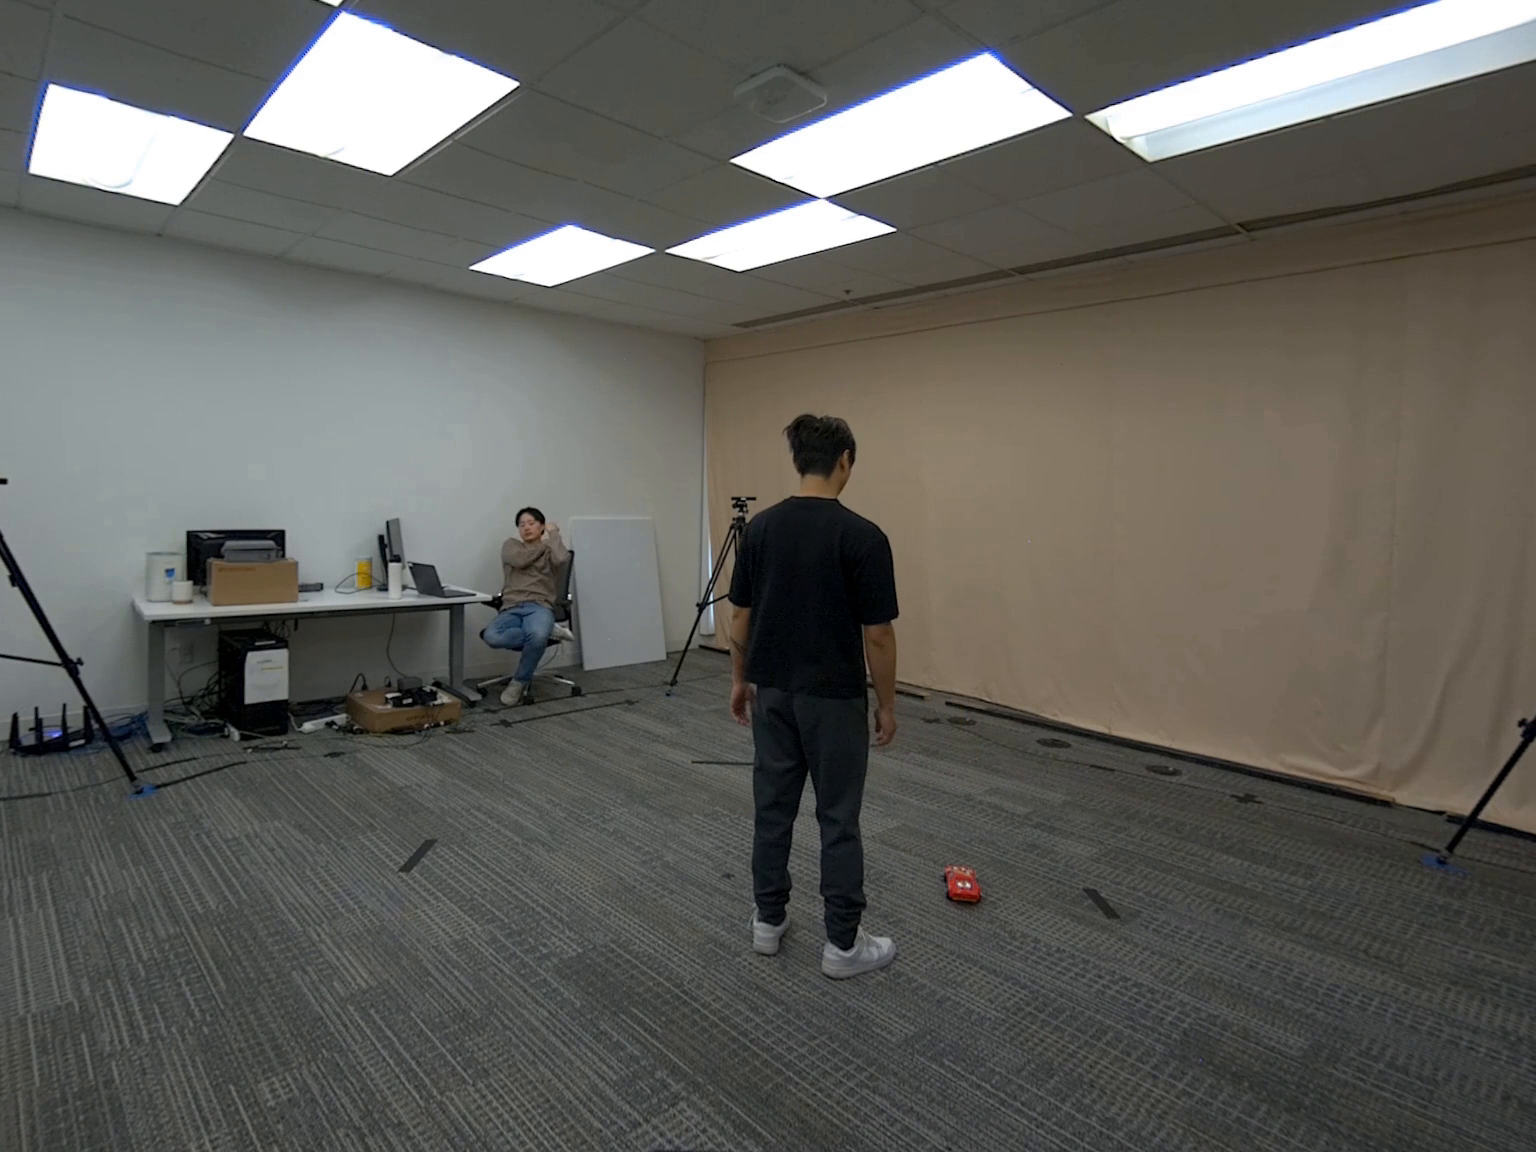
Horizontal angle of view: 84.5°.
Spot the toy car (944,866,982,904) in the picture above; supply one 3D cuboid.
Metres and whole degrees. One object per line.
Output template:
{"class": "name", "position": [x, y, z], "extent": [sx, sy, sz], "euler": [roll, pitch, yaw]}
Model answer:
{"class": "toy car", "position": [0.688, 1.105, 3.012], "extent": [0.131, 0.083, 0.251], "euler": [1, -6, 8]}
